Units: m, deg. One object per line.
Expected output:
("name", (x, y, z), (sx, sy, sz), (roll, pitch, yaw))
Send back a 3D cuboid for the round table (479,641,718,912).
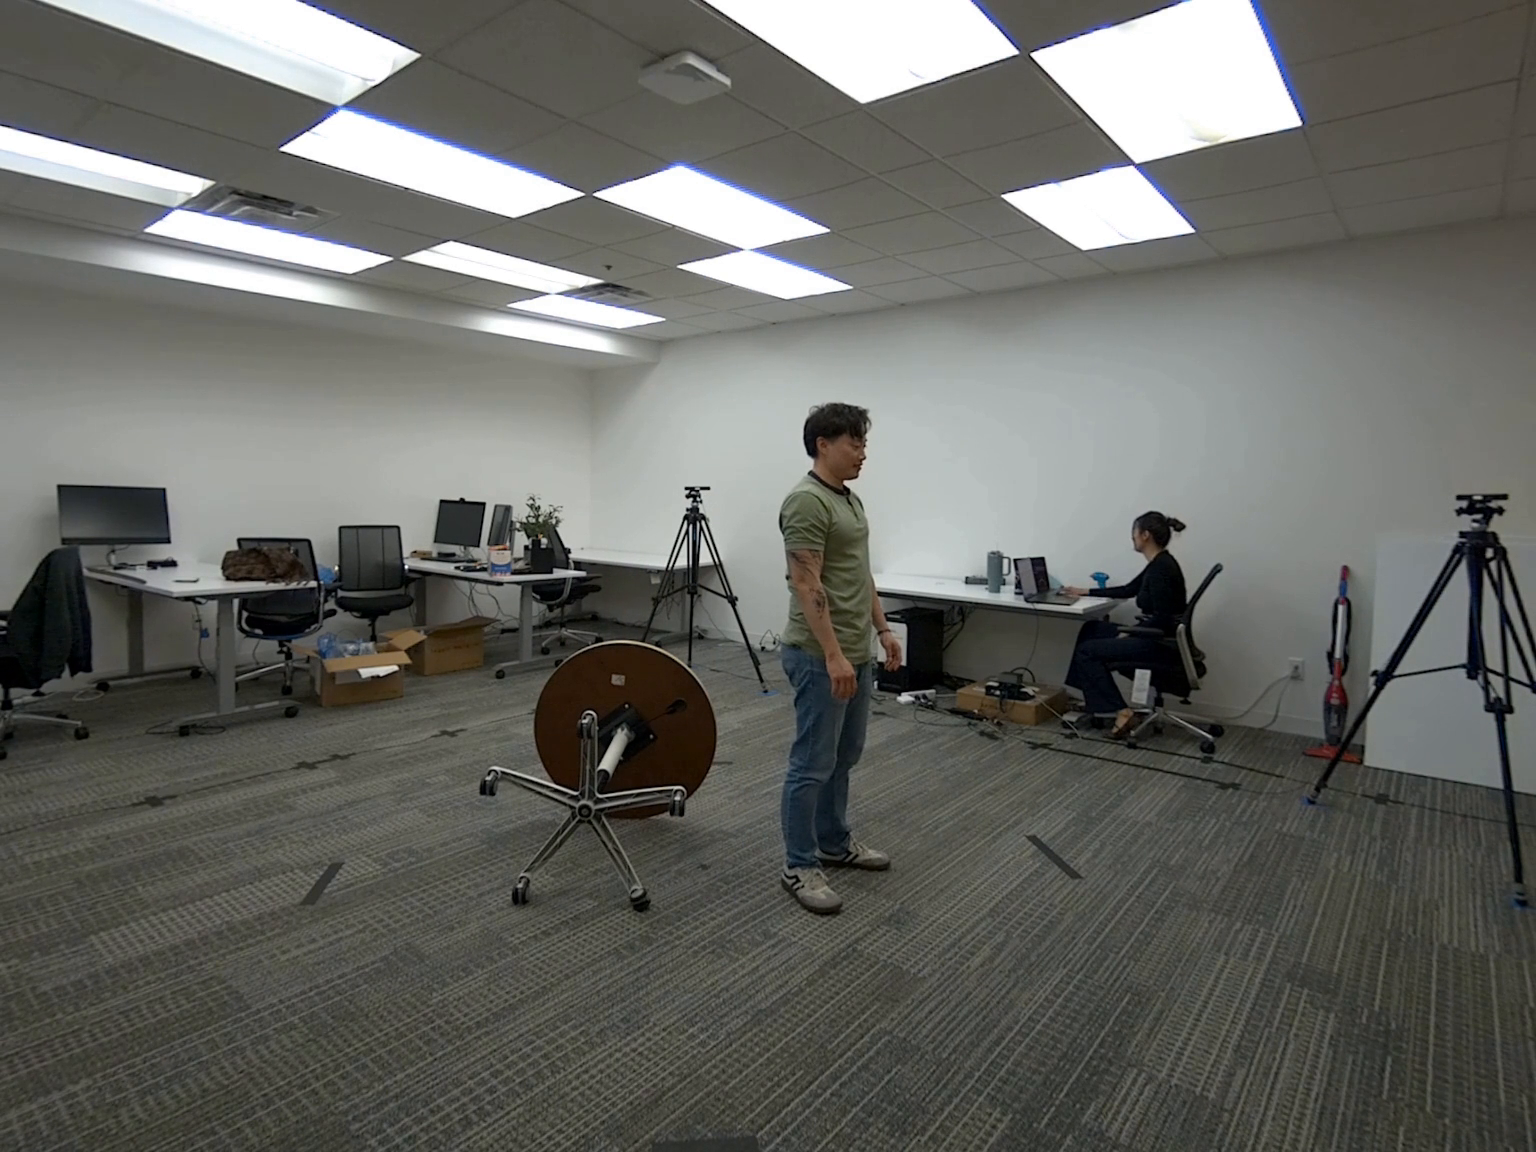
("round table", (-0.605, 0.723, 3.131), (0.766, 0.757, 0.799), (1, 11, 2))
